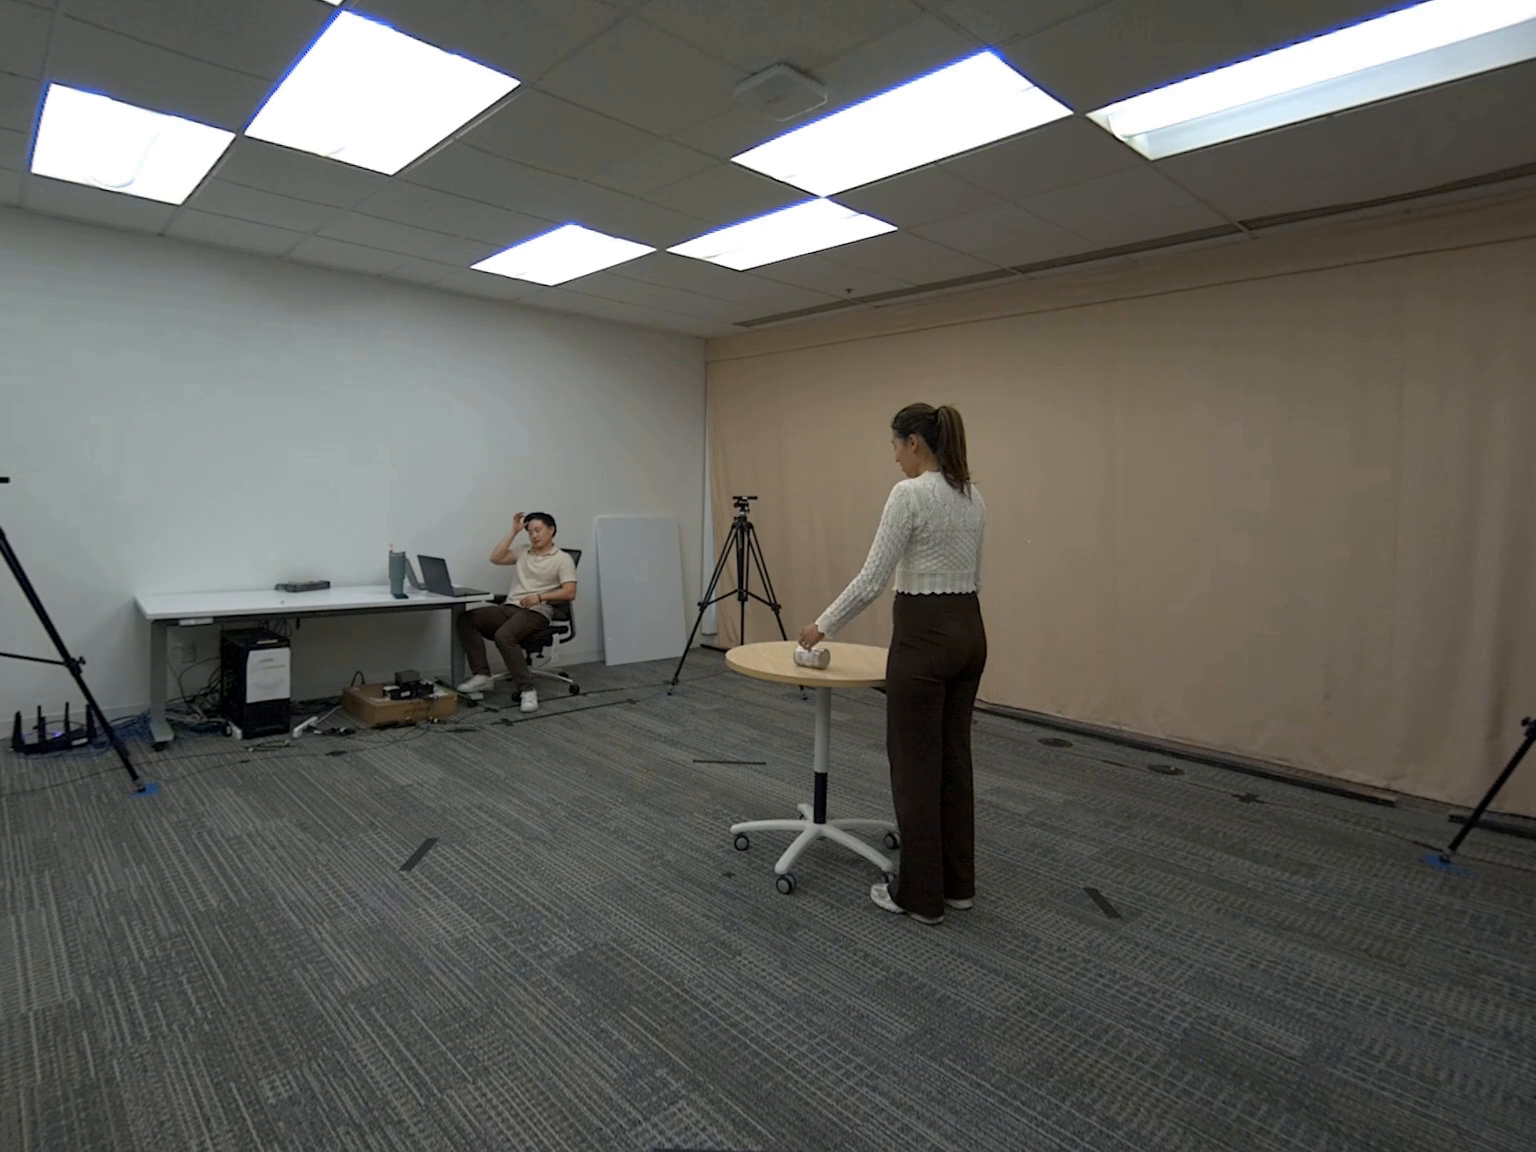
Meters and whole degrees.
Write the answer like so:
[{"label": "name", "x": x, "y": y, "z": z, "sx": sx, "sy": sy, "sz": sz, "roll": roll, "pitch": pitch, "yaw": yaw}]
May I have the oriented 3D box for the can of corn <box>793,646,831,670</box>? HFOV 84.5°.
[{"label": "can of corn", "x": 0.153, "y": 0.292, "z": 3.058, "sx": 0.113, "sy": 0.074, "sz": 0.073, "roll": 3, "pitch": 5, "yaw": 24}]
